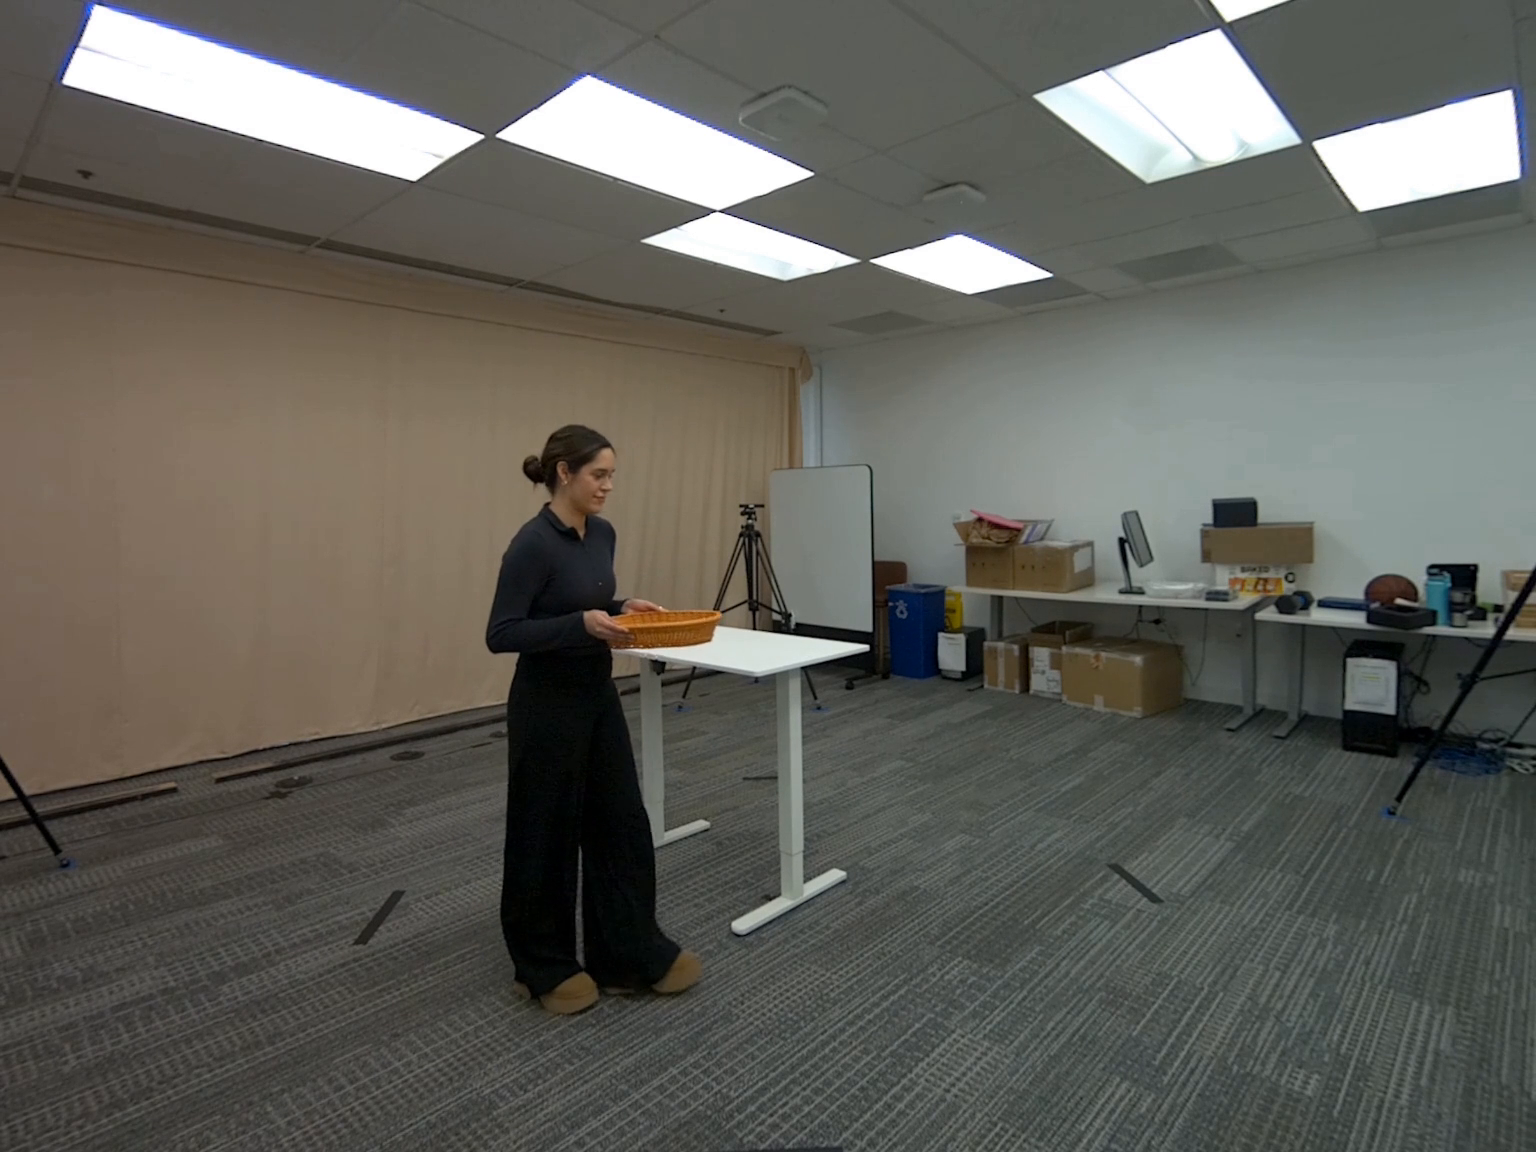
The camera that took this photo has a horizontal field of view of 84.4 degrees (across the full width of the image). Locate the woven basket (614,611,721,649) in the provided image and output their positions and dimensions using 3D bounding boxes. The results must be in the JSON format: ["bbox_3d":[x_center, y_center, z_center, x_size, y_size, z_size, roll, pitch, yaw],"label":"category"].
[{"bbox_3d":[-0.316,0.155,2.208,0.356,0.073,0.249,-1,5,13],"label":"woven basket"}]
